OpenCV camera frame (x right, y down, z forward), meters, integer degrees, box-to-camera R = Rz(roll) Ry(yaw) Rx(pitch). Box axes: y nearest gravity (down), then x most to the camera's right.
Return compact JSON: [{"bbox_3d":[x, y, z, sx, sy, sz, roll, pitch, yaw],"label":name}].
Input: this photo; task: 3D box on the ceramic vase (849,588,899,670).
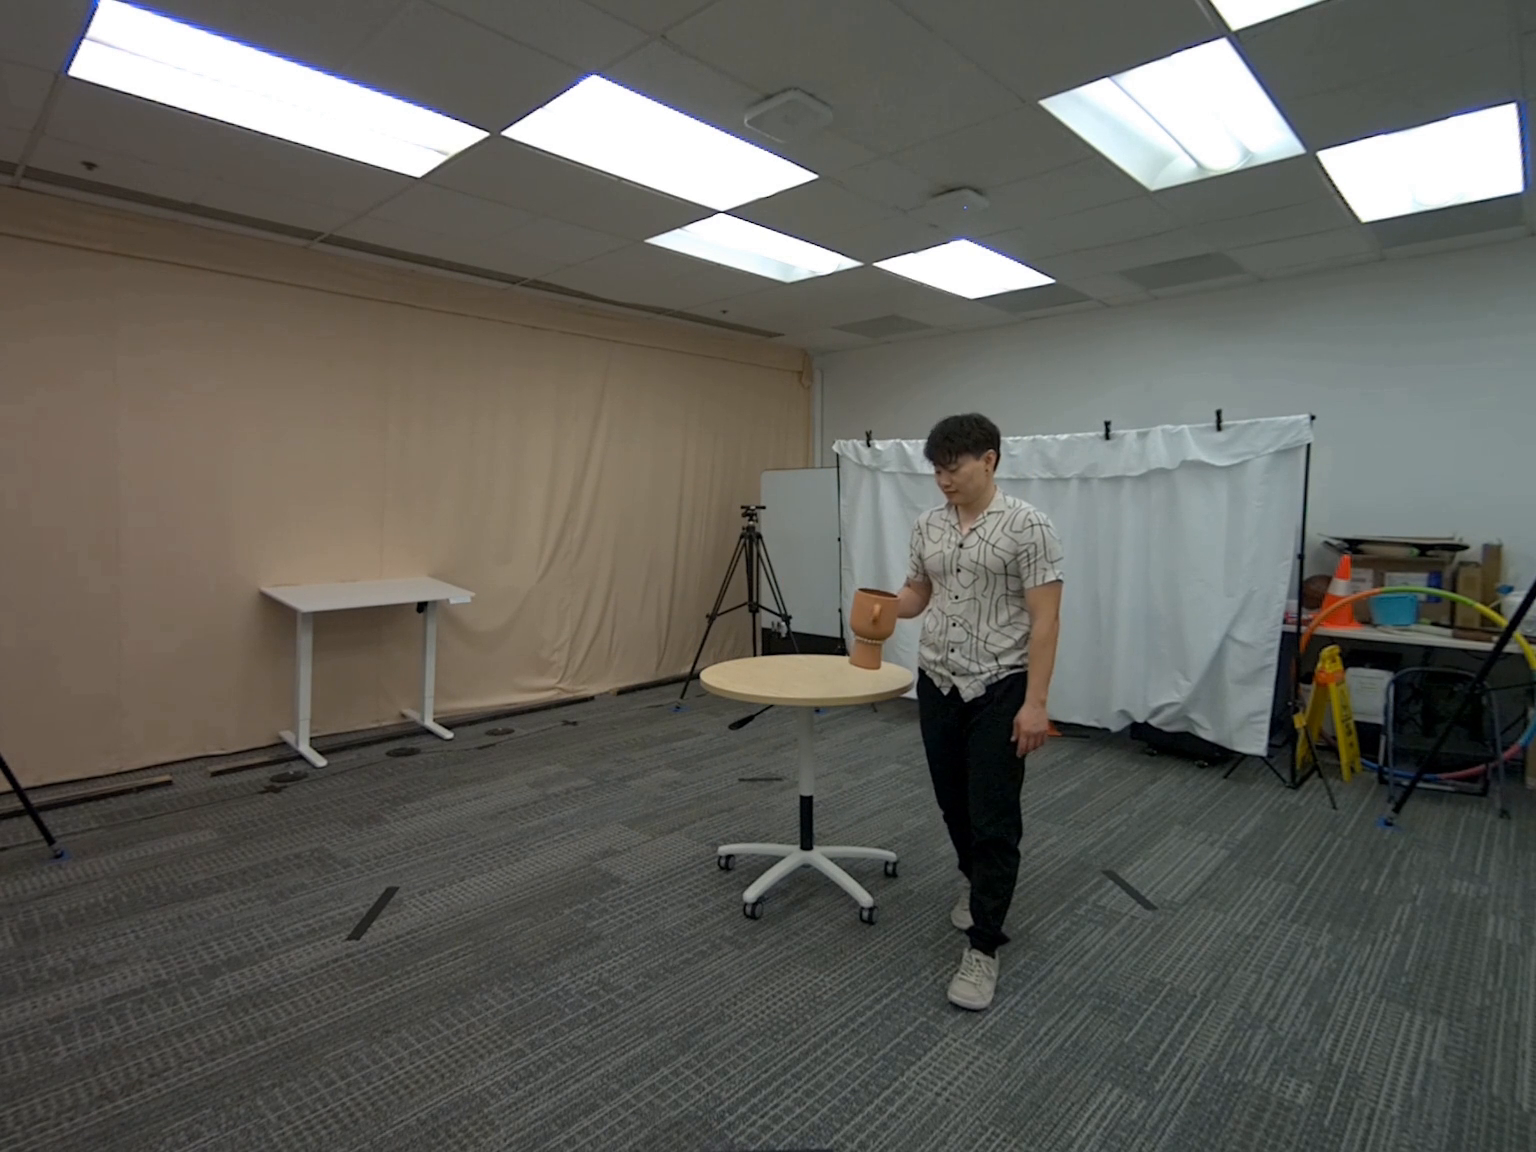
[{"bbox_3d":[0.325,0.159,2.474,0.139,0.219,0.154,16,11,41],"label":"ceramic vase"}]
